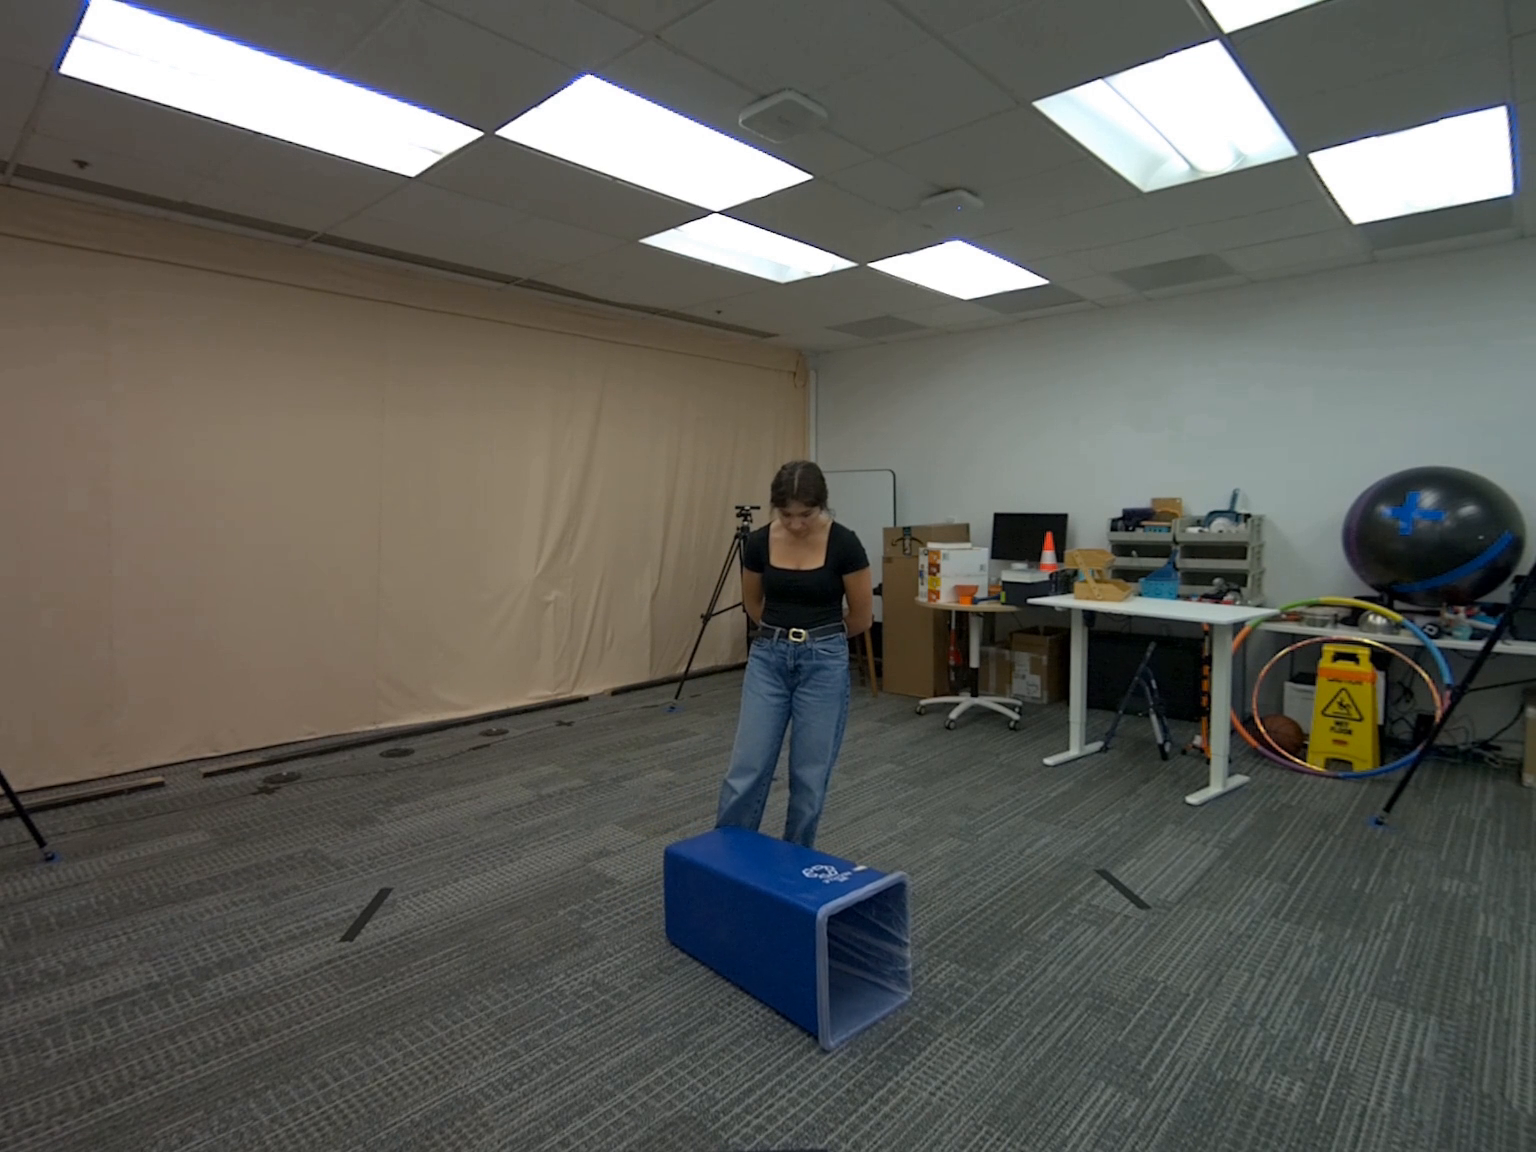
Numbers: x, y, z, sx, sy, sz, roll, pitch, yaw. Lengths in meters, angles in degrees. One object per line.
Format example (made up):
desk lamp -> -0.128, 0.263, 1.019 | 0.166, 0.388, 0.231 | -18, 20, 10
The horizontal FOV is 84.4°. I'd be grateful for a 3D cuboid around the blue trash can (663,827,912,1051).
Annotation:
blue trash can -> 0.028, 1.017, 2.507 | 0.362, 0.378, 0.736 | -3, 3, -44
